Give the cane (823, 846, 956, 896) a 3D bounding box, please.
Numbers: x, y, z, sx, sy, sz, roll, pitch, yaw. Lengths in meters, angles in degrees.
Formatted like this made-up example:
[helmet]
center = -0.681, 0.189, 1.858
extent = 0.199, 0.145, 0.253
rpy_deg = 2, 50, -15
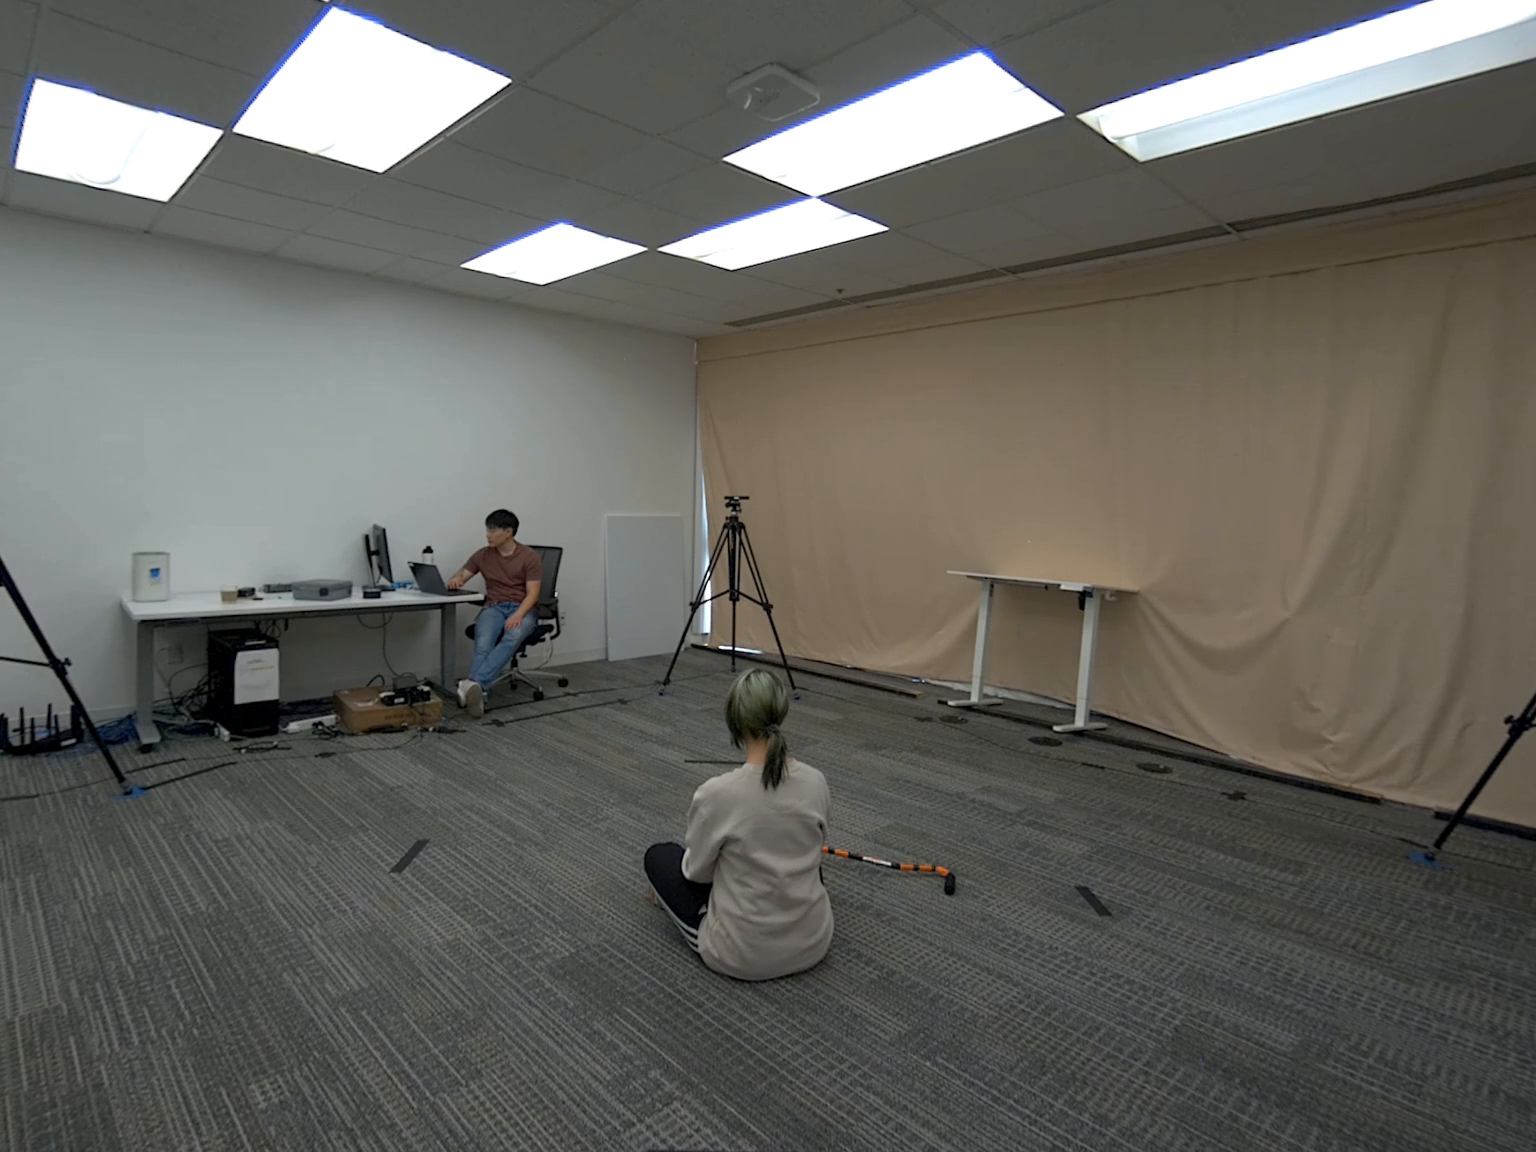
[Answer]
[cane]
center = 0.238, 1.056, 3.208
extent = 0.922, 0.151, 0.204
rpy_deg = 7, 4, 17
